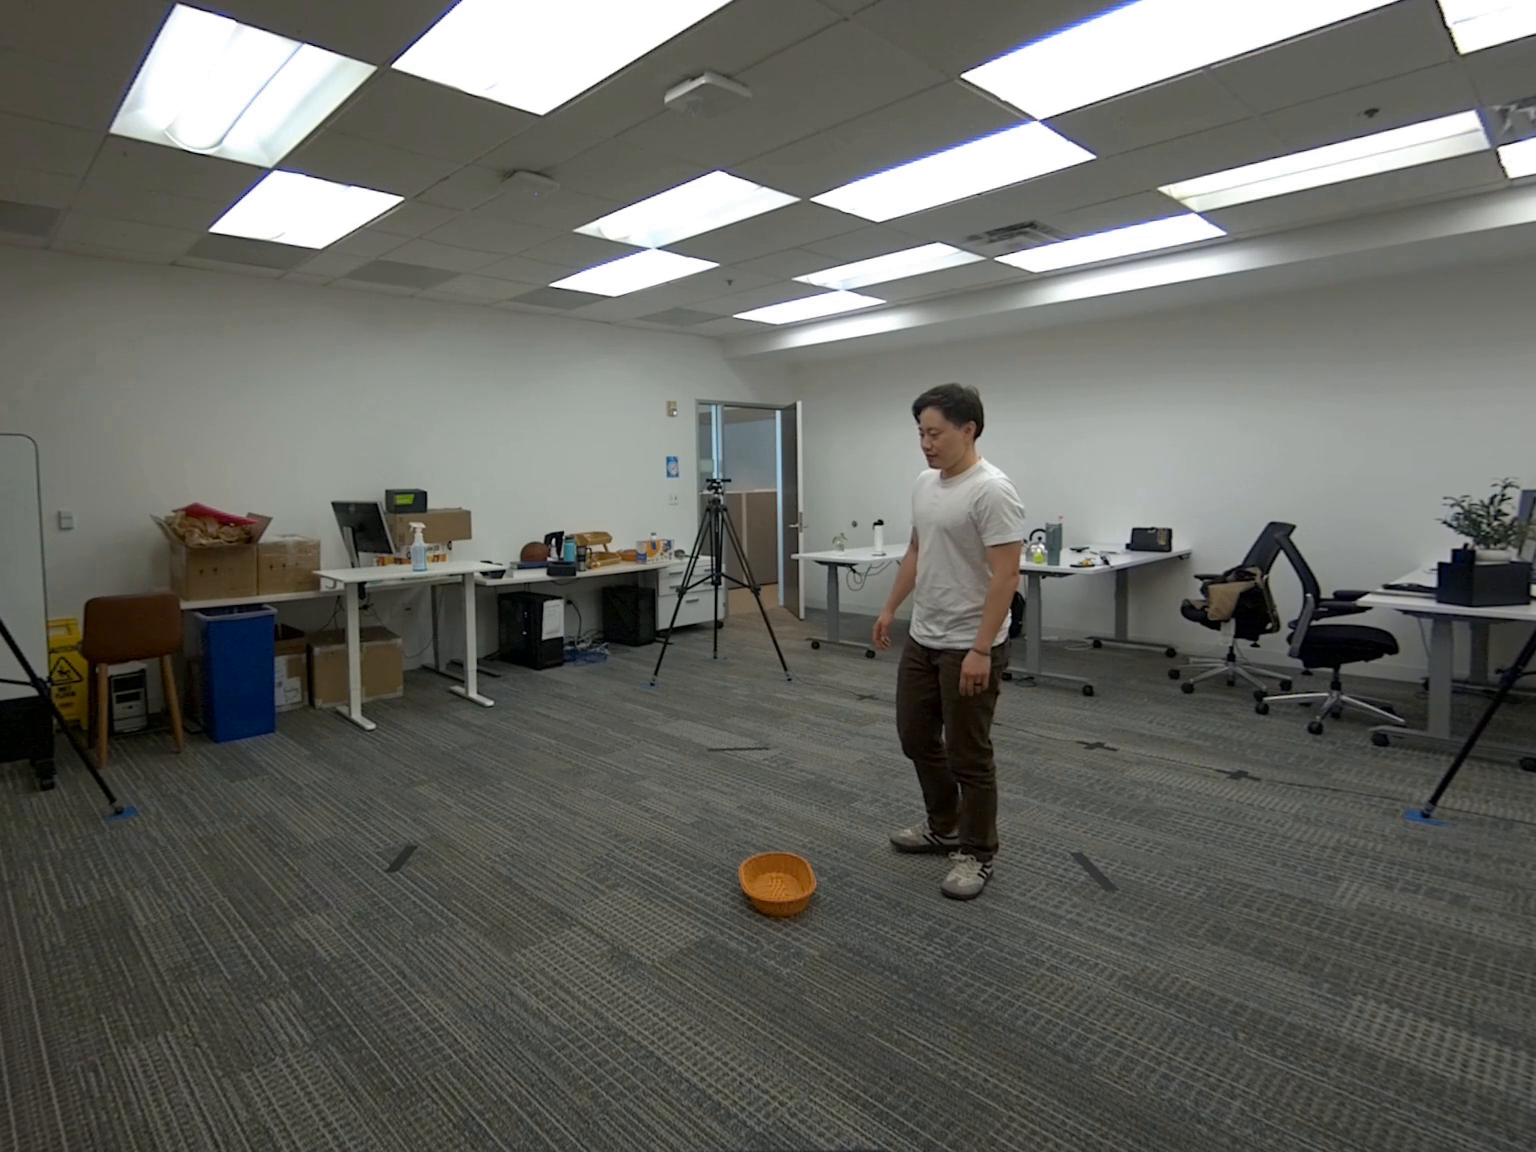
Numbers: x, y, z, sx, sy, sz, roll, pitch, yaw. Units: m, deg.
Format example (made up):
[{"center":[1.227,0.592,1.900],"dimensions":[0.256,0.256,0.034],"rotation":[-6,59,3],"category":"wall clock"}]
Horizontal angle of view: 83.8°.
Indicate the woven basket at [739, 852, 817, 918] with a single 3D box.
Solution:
[{"center":[0.036,1.034,2.862],"dimensions":[0.252,0.073,0.353],"rotation":[-3,6,-4],"category":"woven basket"}]
